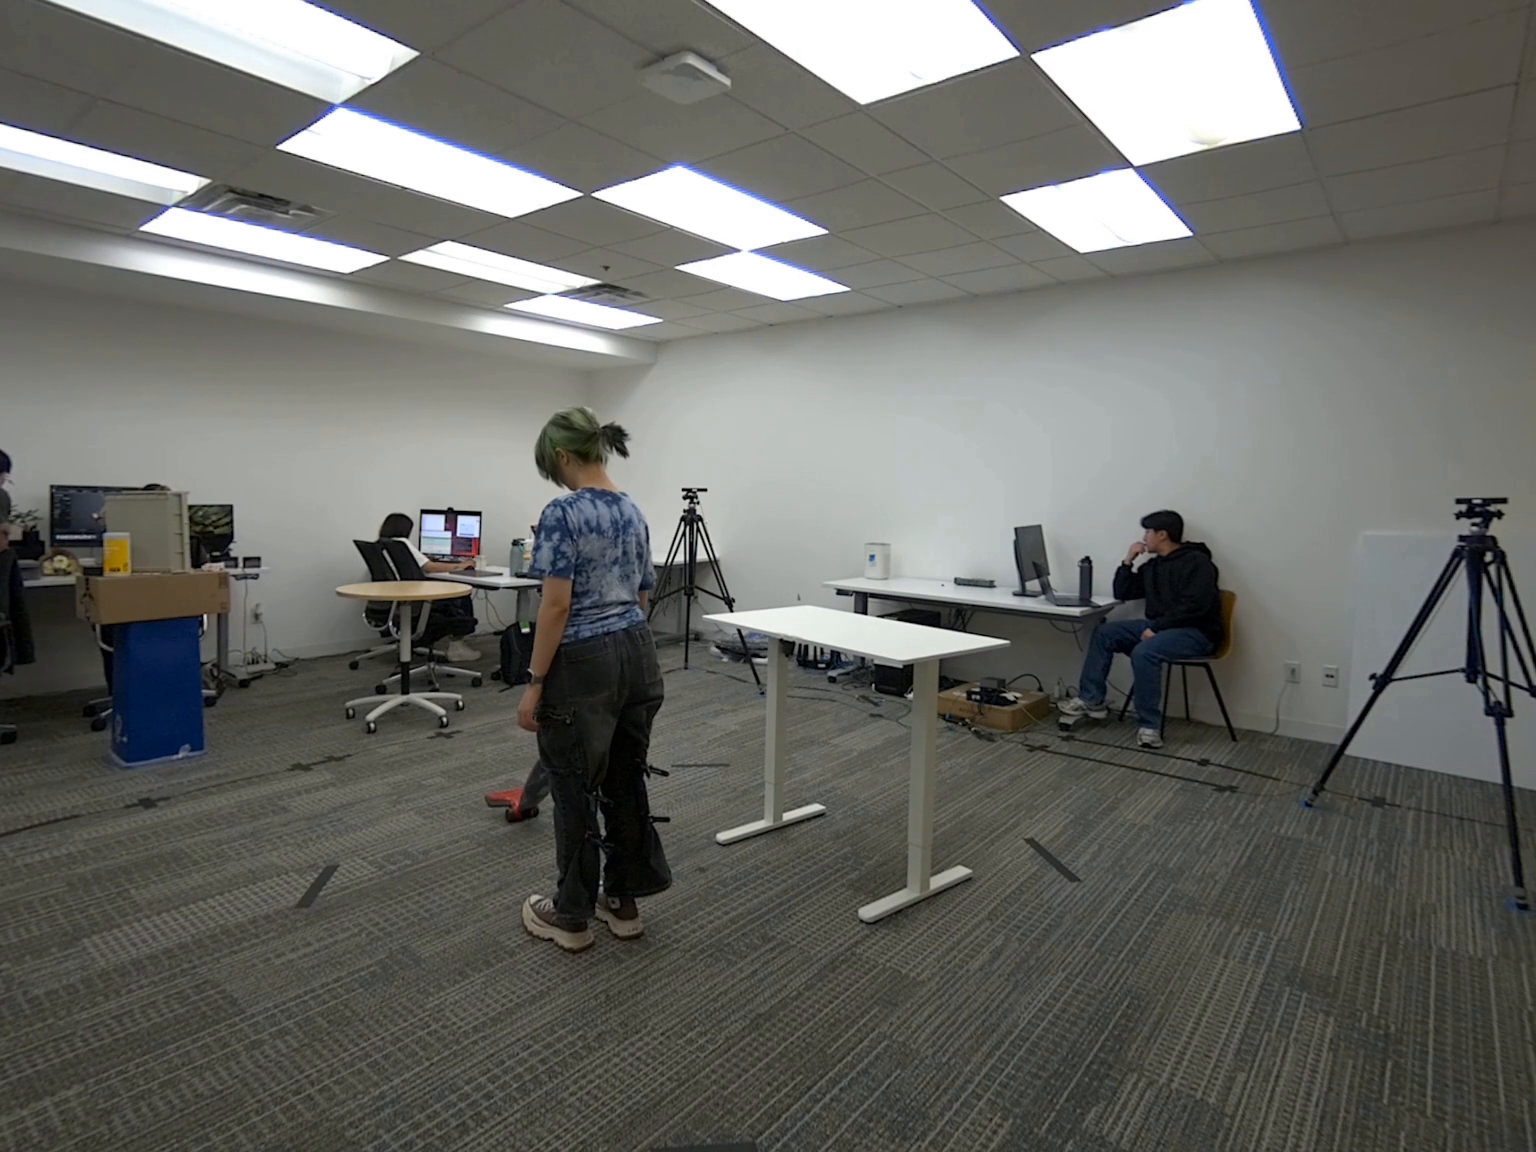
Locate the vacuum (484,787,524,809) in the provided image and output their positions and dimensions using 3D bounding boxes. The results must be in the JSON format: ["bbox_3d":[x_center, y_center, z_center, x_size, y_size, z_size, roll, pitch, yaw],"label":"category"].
[{"bbox_3d":[-0.814,0.687,3.261,0.245,0.148,1.049,-6,-29,-41],"label":"vacuum"}]
